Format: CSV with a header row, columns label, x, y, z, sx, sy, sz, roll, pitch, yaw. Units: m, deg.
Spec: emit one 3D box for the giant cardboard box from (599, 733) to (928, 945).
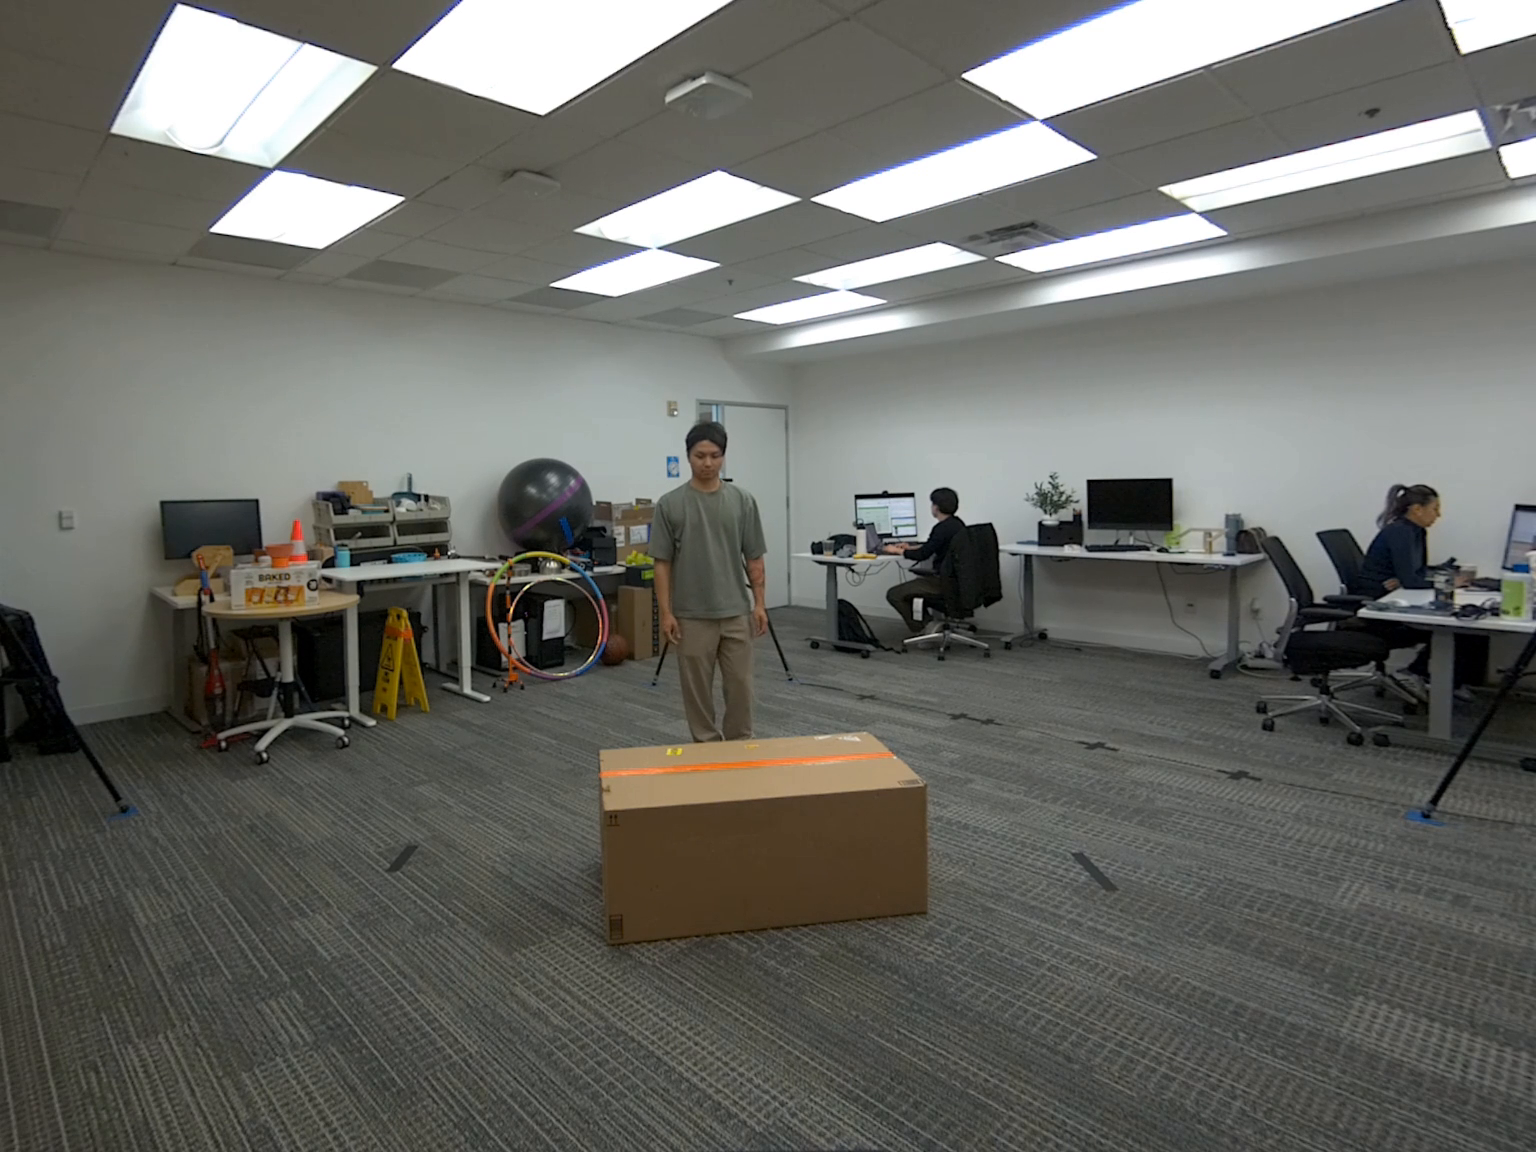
label,x,y,z,sx,sy,sz,roll,pitch,yaw
giant cardboard box,-0.051,0.848,2.913,1.016,0.424,0.585,-2,5,-10
